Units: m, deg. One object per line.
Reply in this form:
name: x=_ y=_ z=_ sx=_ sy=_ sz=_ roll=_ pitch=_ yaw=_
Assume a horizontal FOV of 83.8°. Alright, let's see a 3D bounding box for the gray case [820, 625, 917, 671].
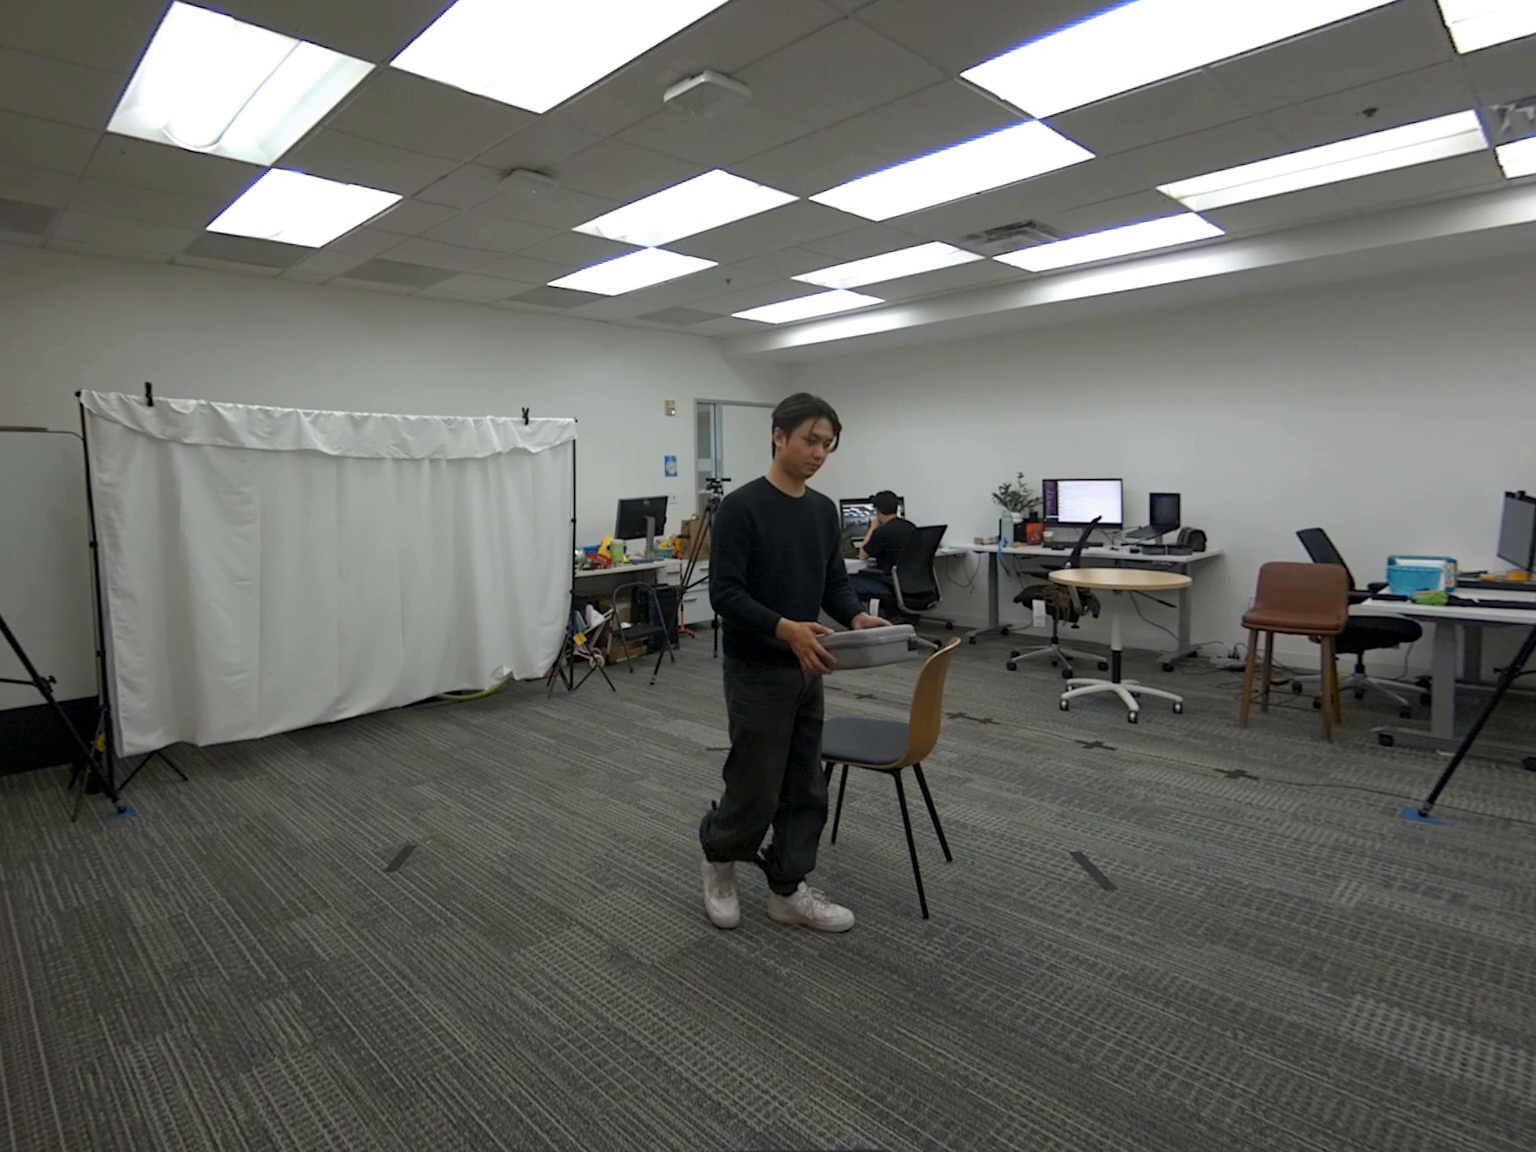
gray case: x=0.251 y=0.208 z=2.431 sx=0.266 sy=0.105 sz=0.250 roll=-12 pitch=-6 yaw=44
